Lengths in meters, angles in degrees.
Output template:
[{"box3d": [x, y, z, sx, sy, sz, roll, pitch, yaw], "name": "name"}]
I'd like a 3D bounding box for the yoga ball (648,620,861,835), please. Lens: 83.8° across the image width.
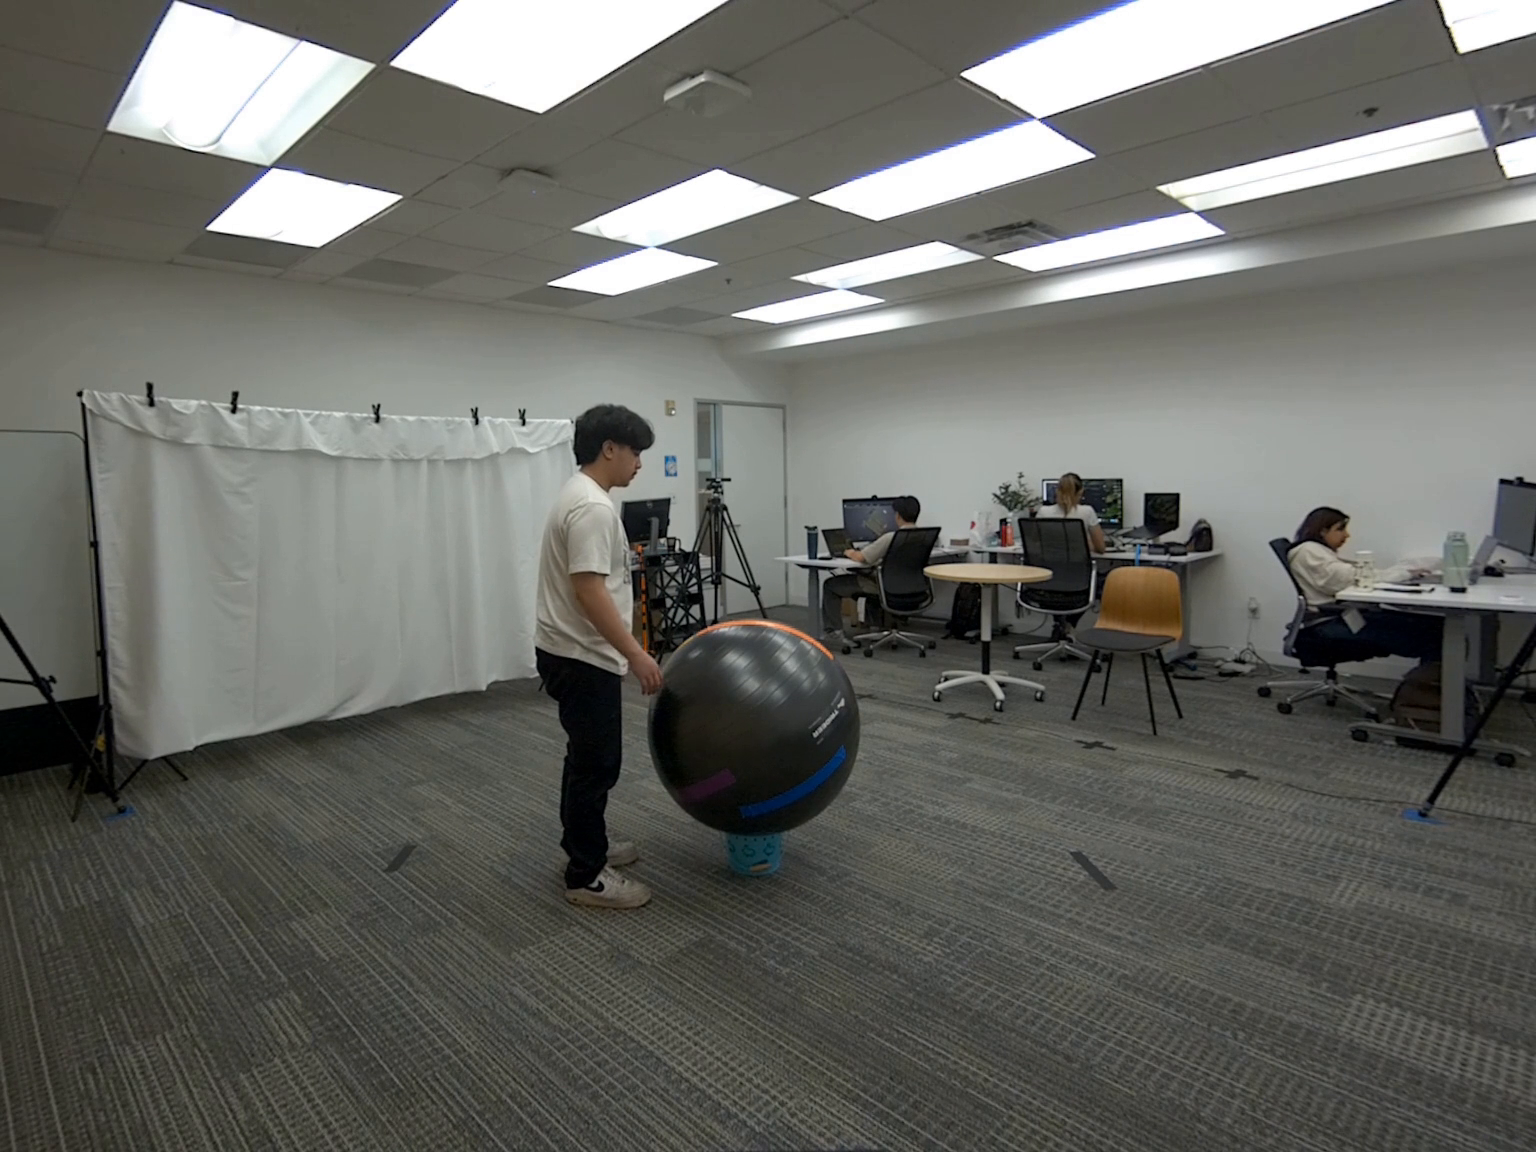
[{"box3d": [-0.048, 0.539, 3.061, 0.757, 0.755, 0.762, -1, 5, -2], "name": "yoga ball"}]
